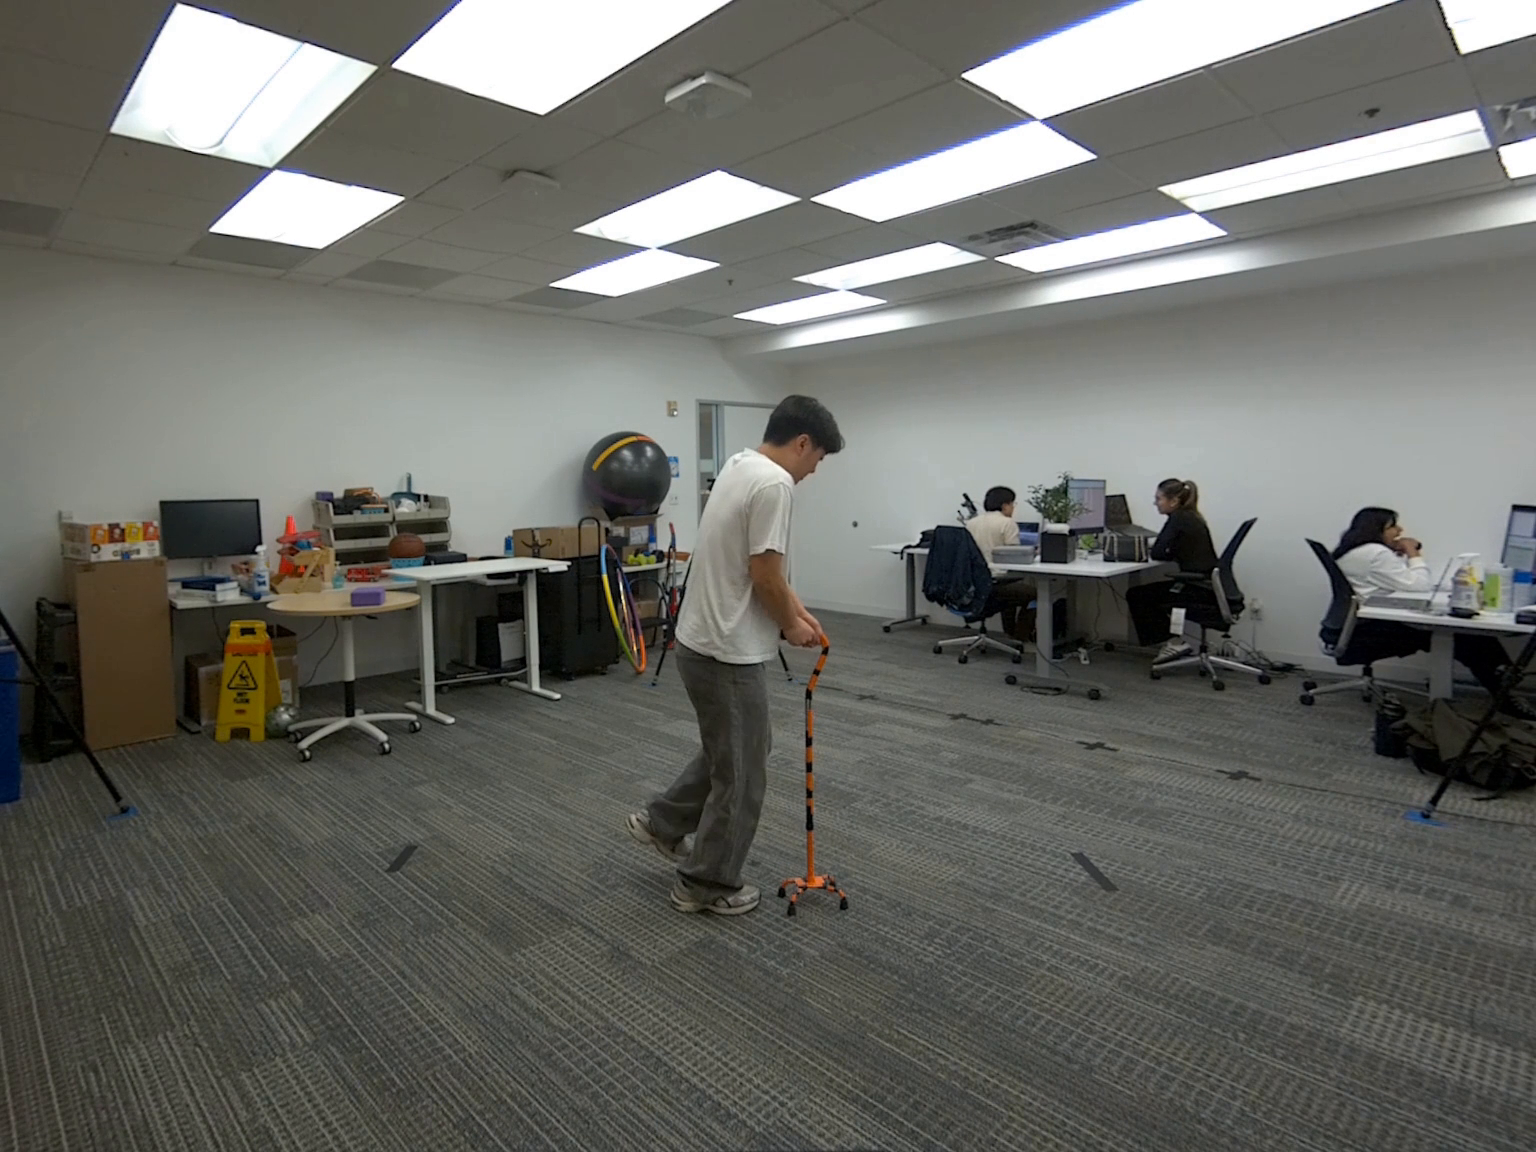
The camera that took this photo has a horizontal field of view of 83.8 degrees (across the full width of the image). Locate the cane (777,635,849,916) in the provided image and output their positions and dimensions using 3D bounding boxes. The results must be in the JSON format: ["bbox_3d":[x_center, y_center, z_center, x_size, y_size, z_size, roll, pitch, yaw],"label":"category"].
[{"bbox_3d":[0.139,0.626,2.795,0.204,0.905,0.154,-2,3,-13],"label":"cane"}]
